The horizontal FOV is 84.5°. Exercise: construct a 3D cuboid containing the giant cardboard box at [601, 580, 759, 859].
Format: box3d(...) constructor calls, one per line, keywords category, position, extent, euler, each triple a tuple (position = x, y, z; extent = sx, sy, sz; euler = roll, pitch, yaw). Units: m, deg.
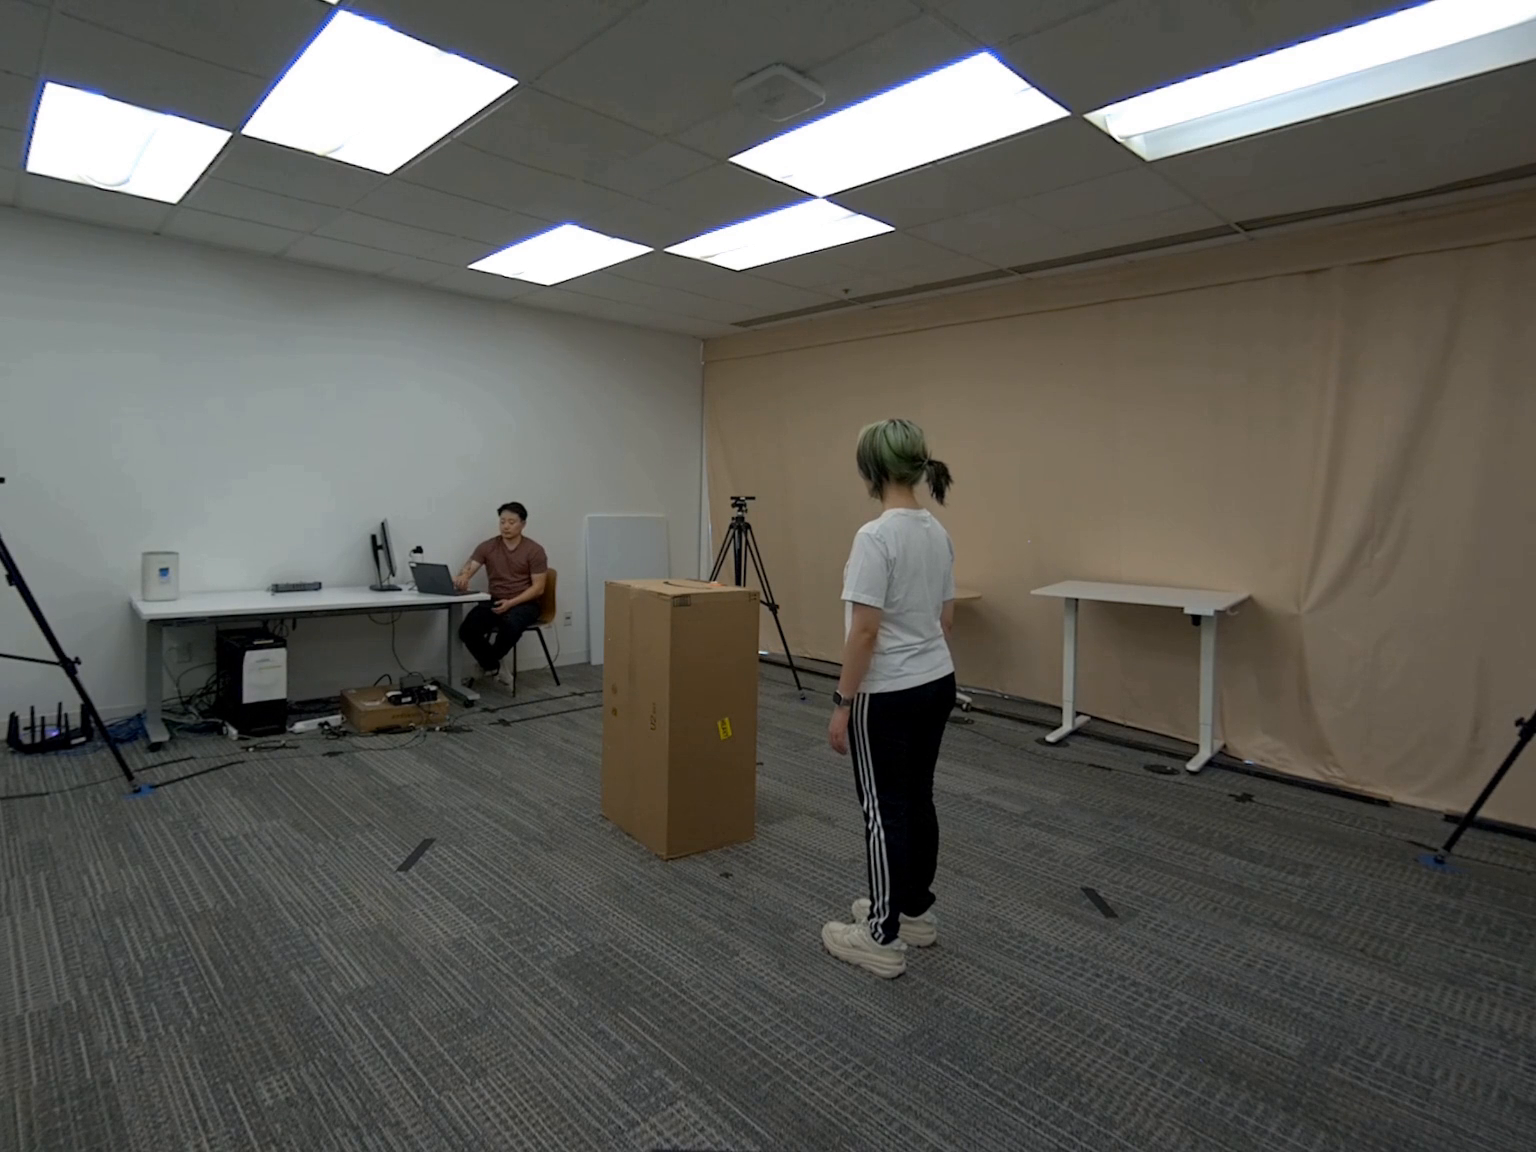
box3d(category="giant cardboard box", position=(-0.387, 0.553, 3.544), extent=(0.437, 1.025, 0.598), euler=(-1, 4, -37))
